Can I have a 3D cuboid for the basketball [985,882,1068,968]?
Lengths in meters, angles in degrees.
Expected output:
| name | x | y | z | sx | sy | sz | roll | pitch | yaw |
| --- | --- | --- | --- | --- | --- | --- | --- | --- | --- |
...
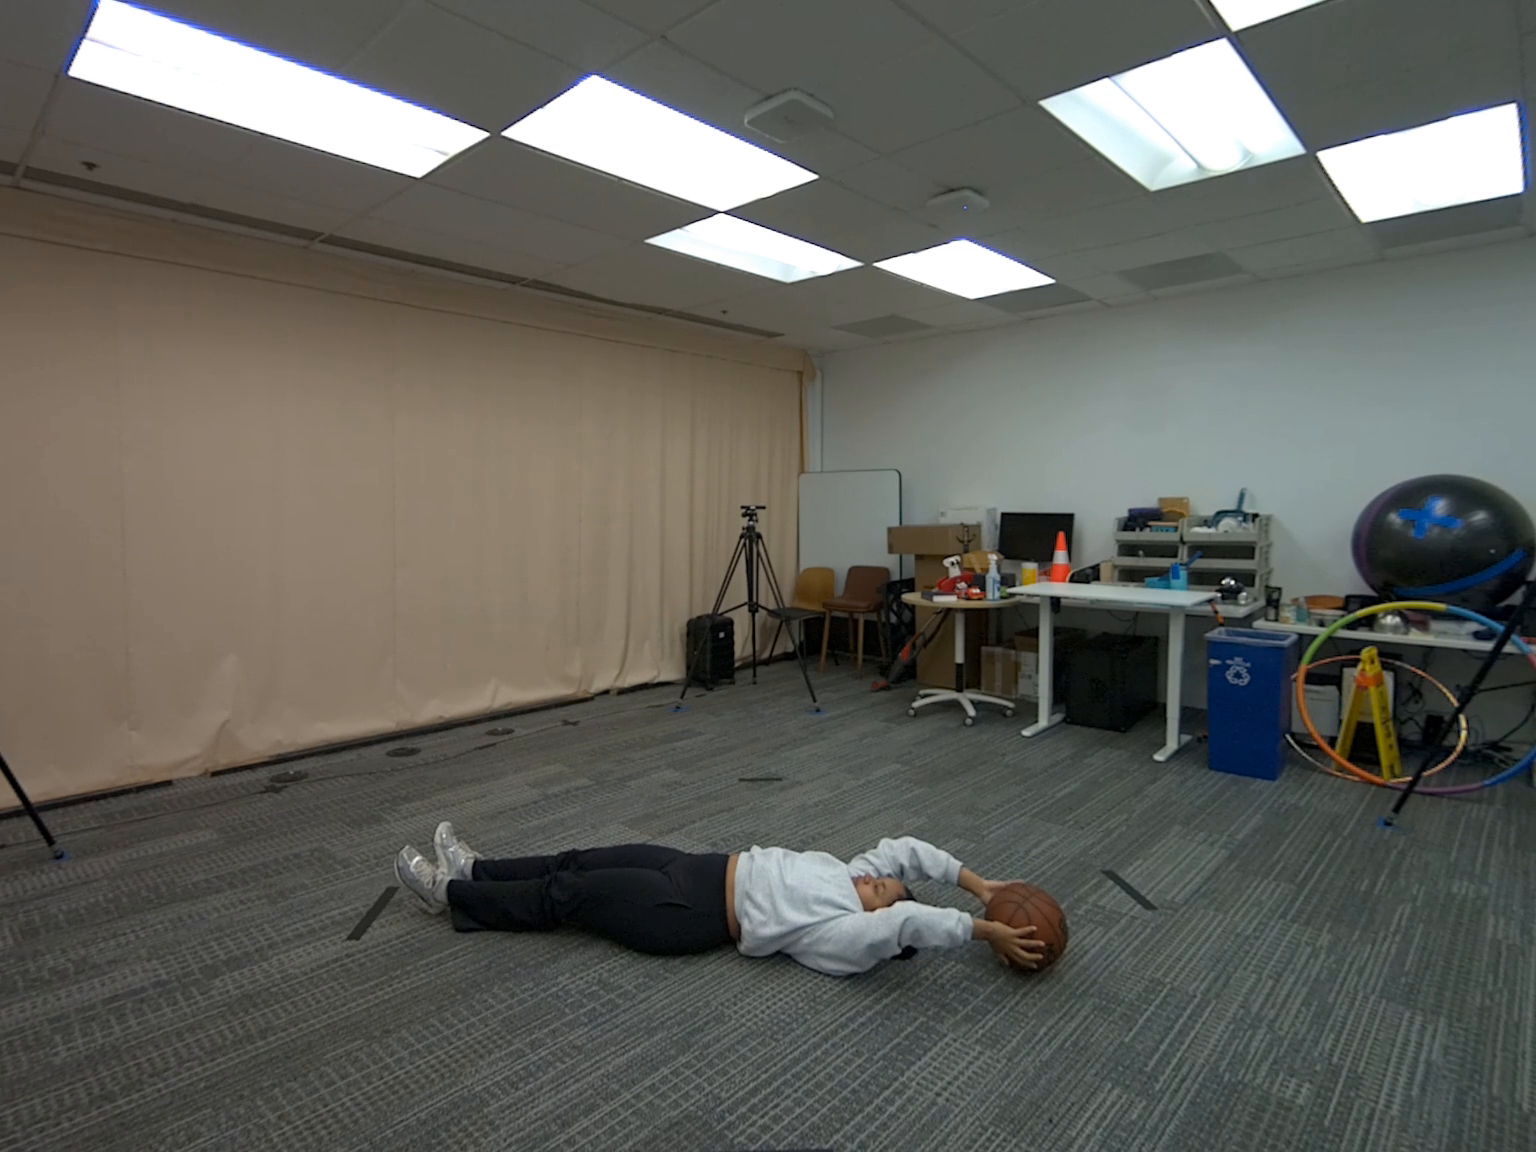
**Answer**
| name | x | y | z | sx | sy | sz | roll | pitch | yaw |
| --- | --- | --- | --- | --- | --- | --- | --- | --- | --- |
| basketball | 0.783 | 1.061 | 2.543 | 0.235 | 0.235 | 0.237 | 1 | 4 | -2 |
